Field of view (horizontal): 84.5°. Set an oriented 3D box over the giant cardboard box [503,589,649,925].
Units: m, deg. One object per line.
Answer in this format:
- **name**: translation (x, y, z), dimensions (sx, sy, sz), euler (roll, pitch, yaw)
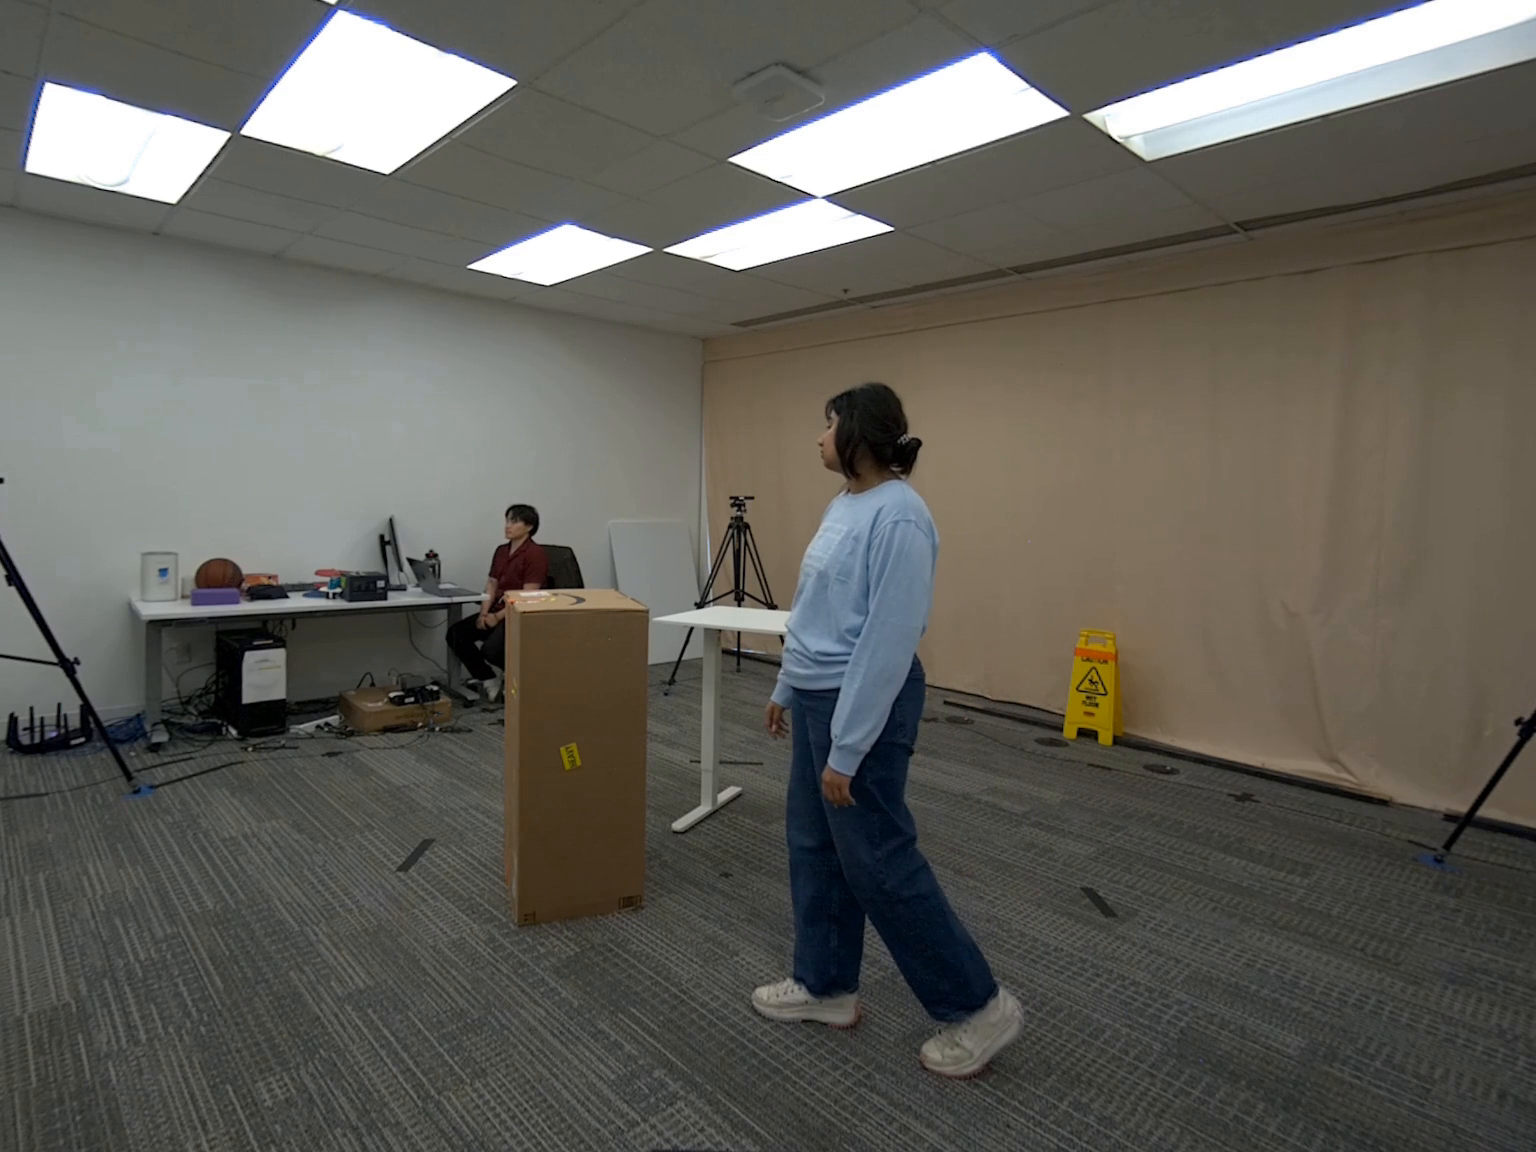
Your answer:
- **giant cardboard box**: translation (-0.713, 0.592, 3.008), dimensions (0.419, 1.023, 0.588), euler (0, 4, -22)
